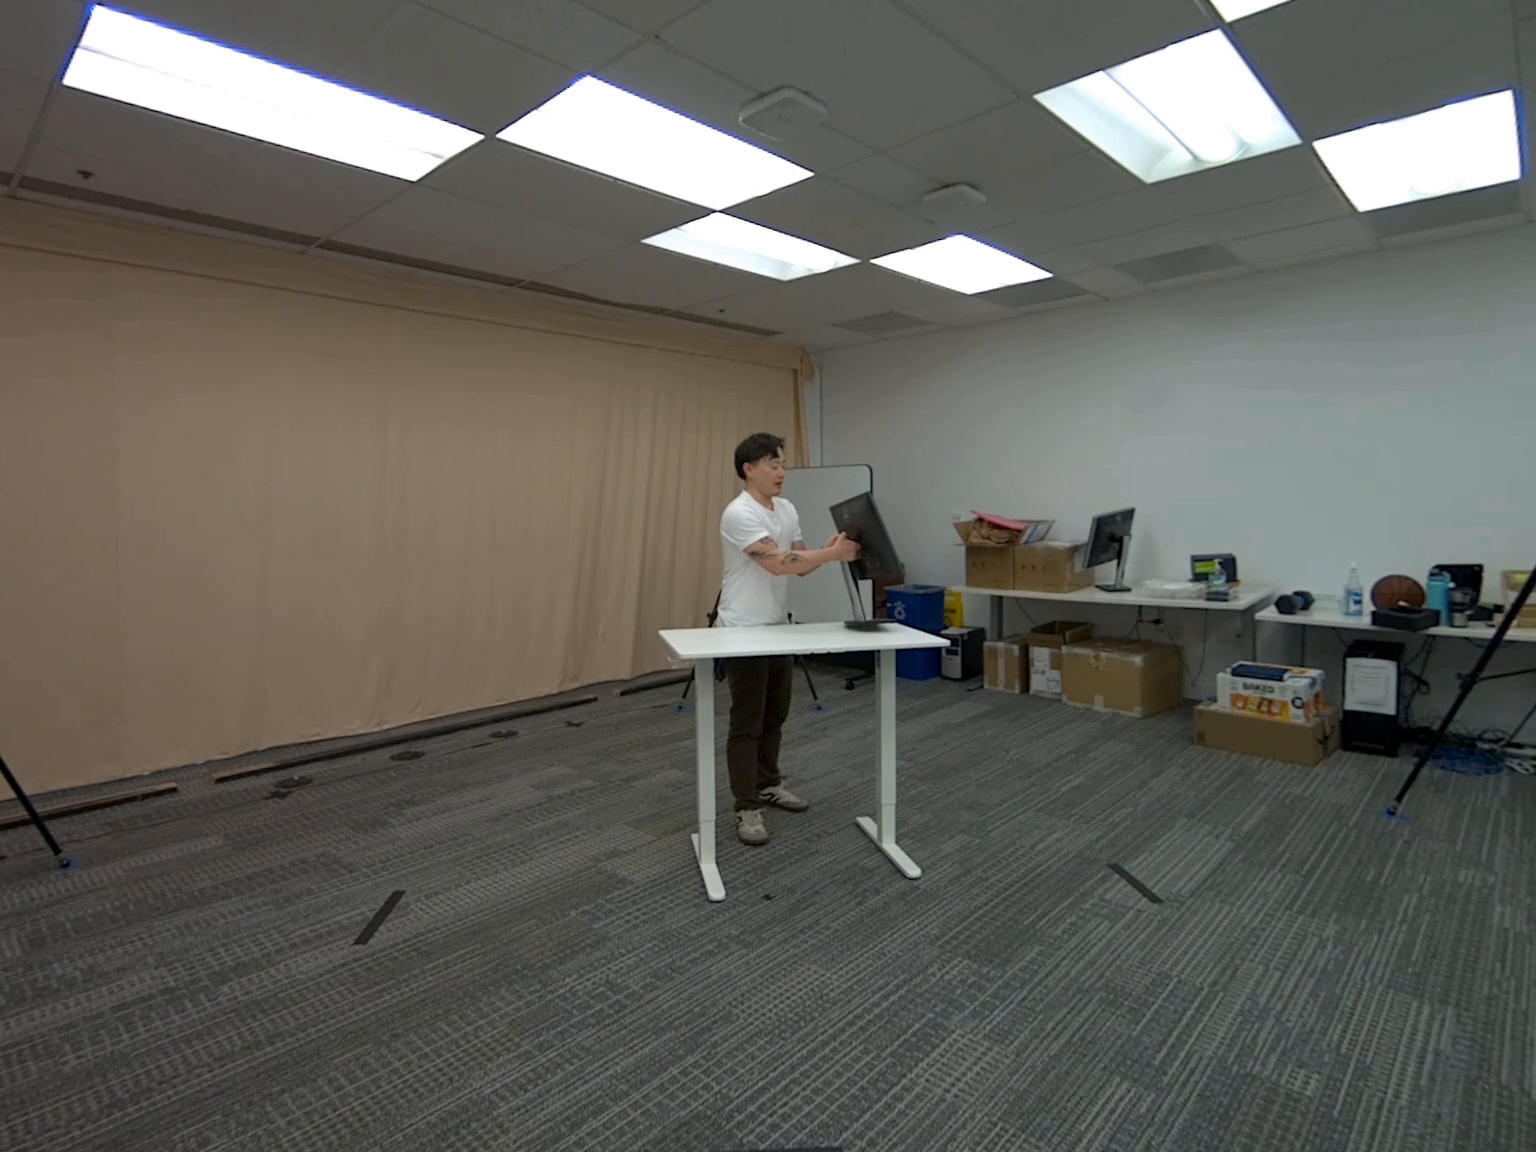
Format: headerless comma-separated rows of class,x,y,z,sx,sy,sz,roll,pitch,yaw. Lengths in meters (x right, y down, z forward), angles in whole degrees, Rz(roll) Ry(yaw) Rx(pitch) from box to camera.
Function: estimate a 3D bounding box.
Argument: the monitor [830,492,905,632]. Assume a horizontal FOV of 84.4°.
monitor,0.382,-0.055,3.448,0.185,0.523,0.544,-8,-2,-12
